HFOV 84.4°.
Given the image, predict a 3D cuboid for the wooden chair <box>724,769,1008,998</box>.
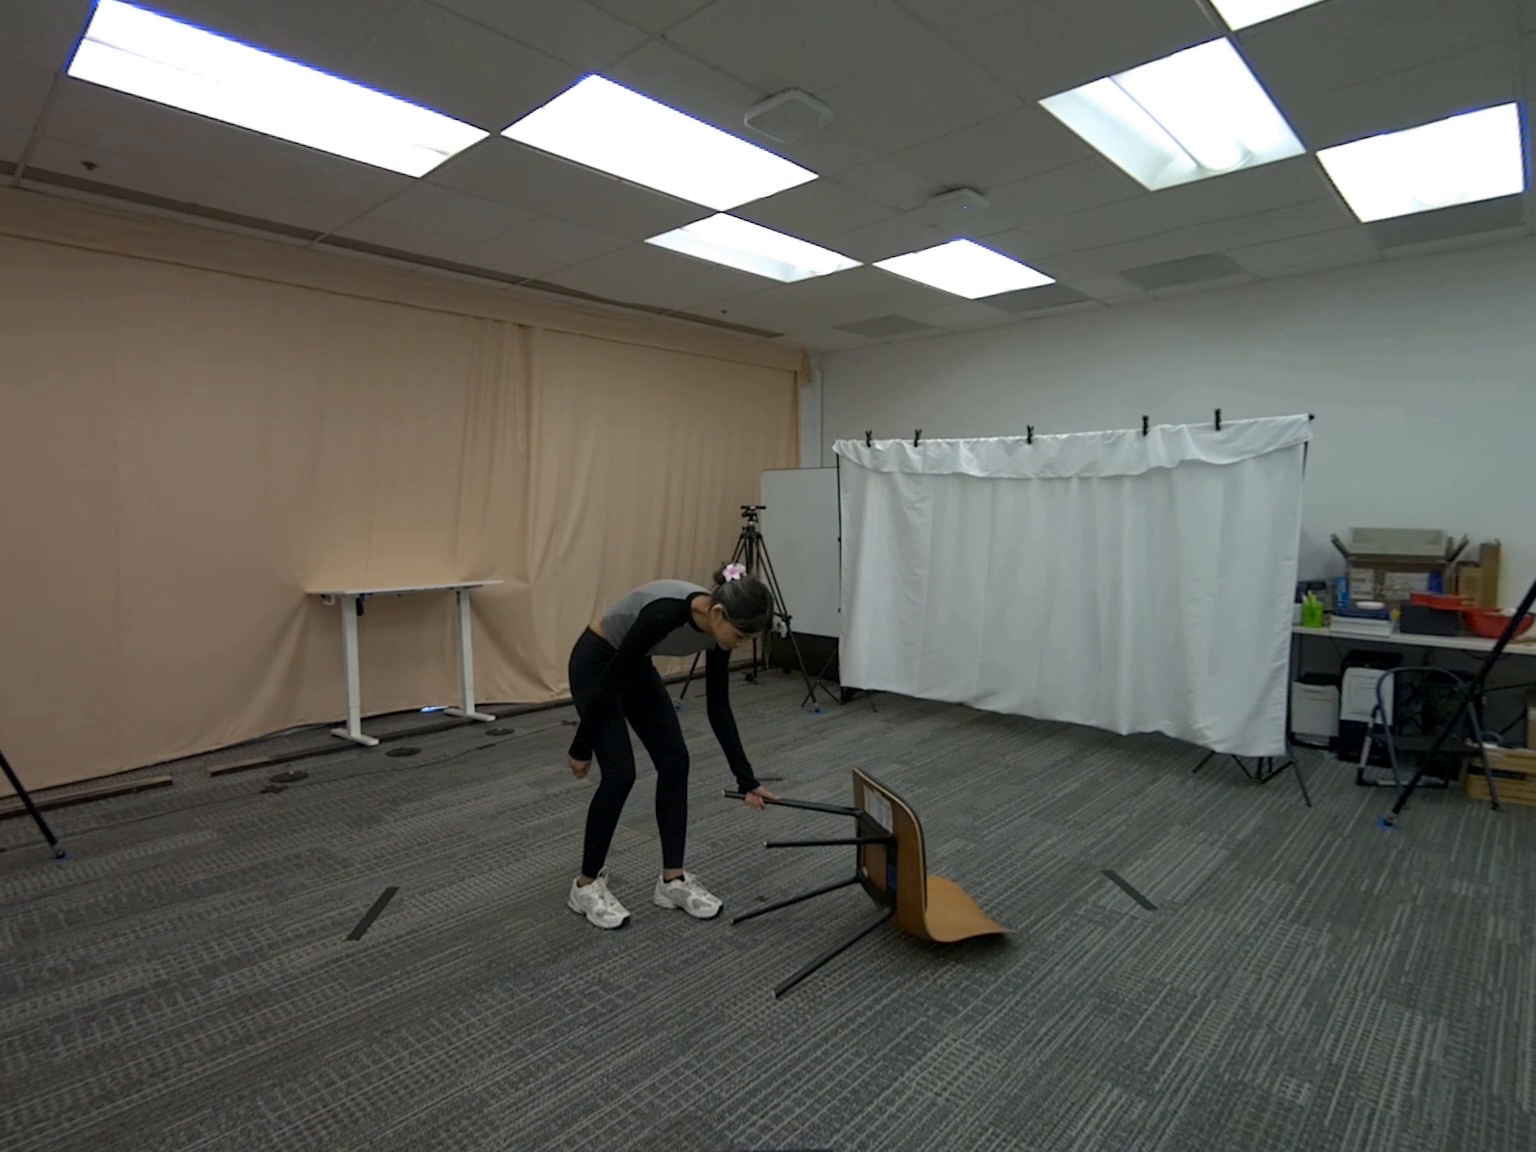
[{"bbox_3d":[0.344,0.907,2.676,0.863,0.522,0.487,0,3,-15],"label":"wooden chair"}]
